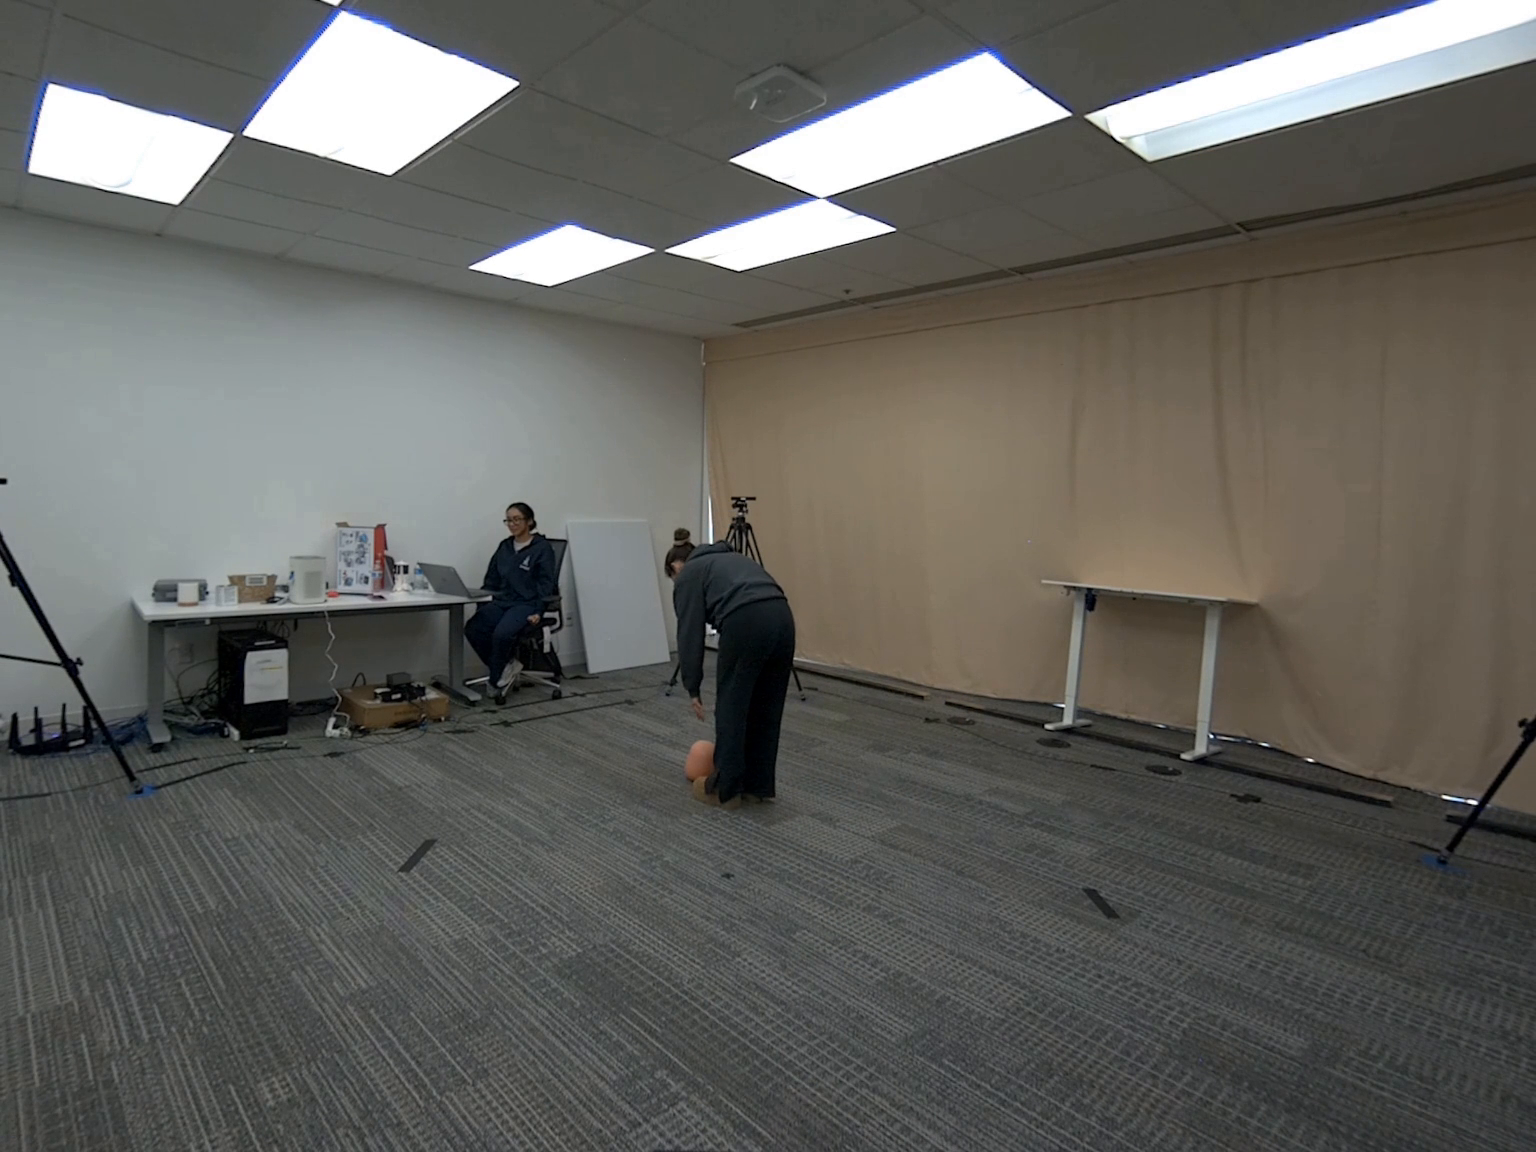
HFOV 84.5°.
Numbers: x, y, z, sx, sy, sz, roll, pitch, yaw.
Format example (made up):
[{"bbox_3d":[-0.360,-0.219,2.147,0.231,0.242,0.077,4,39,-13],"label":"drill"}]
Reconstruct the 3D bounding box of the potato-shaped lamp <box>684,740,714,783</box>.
[{"bbox_3d":[-0.346,0.903,4.176,0.161,0.196,0.176,-2,13,-33],"label":"potato-shaped lamp"}]
